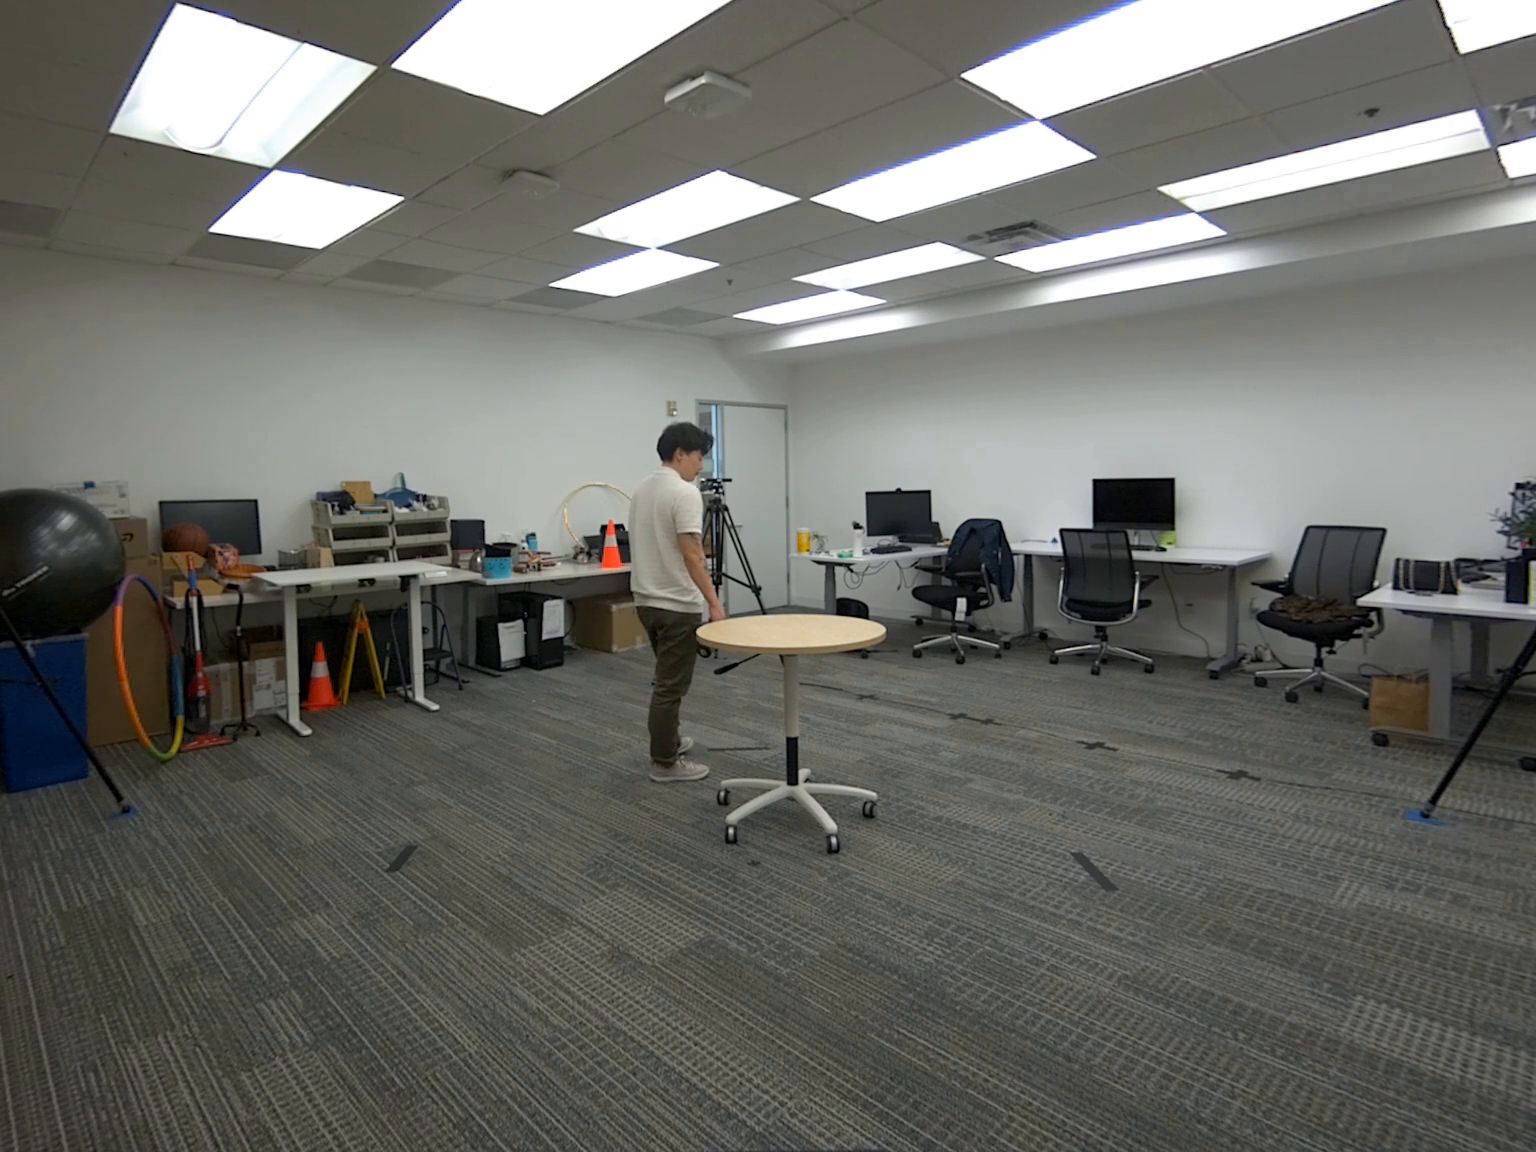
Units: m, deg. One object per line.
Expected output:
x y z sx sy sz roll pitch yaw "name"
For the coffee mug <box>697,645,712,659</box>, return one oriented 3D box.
-0.250 0.257 3.817 0.089 0.121 0.202 -27 9 49 "coffee mug"
